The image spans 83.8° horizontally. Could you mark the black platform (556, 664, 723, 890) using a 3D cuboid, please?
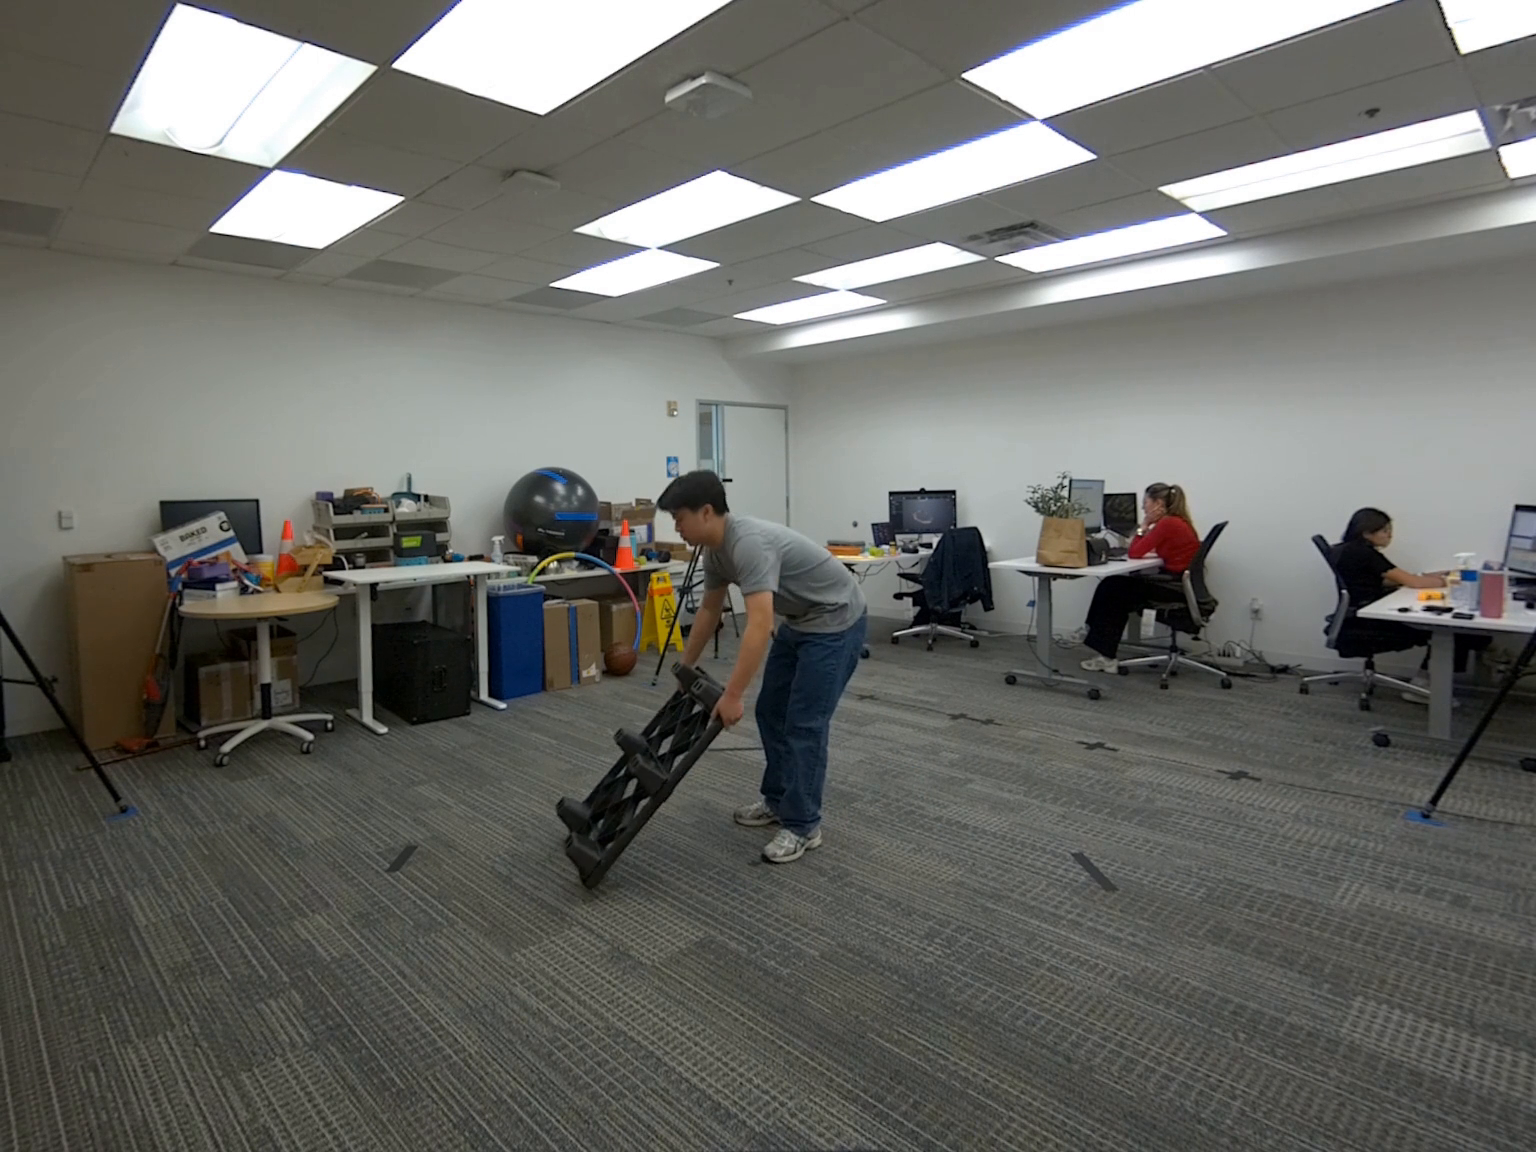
[{"bbox_3d":[-0.456,0.681,3.143,0.141,0.806,0.616,42,-9,-16],"label":"black platform"}]
